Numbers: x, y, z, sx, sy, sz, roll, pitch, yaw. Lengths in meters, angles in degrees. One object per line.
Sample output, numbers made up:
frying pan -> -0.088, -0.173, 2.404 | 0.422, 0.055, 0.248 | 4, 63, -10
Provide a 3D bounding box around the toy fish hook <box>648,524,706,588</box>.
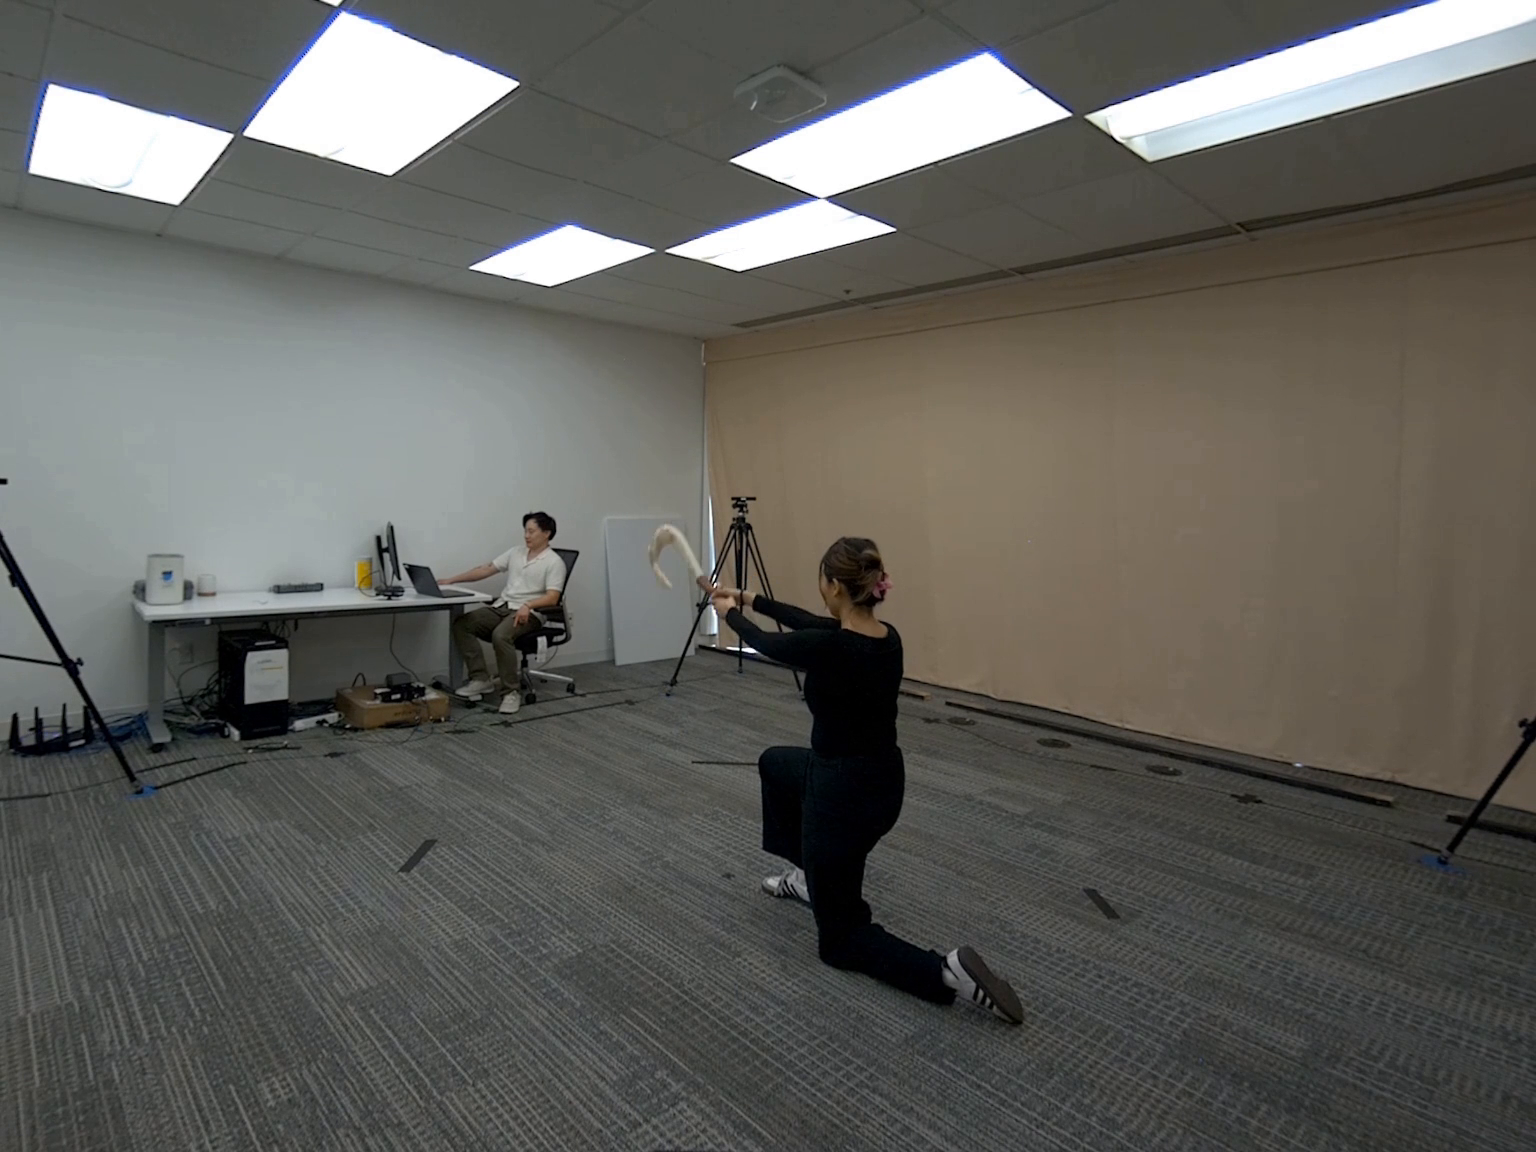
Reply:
toy fish hook -> -0.280, 0.021, 3.133 | 0.047, 0.223, 0.522 | -6, 42, -44
